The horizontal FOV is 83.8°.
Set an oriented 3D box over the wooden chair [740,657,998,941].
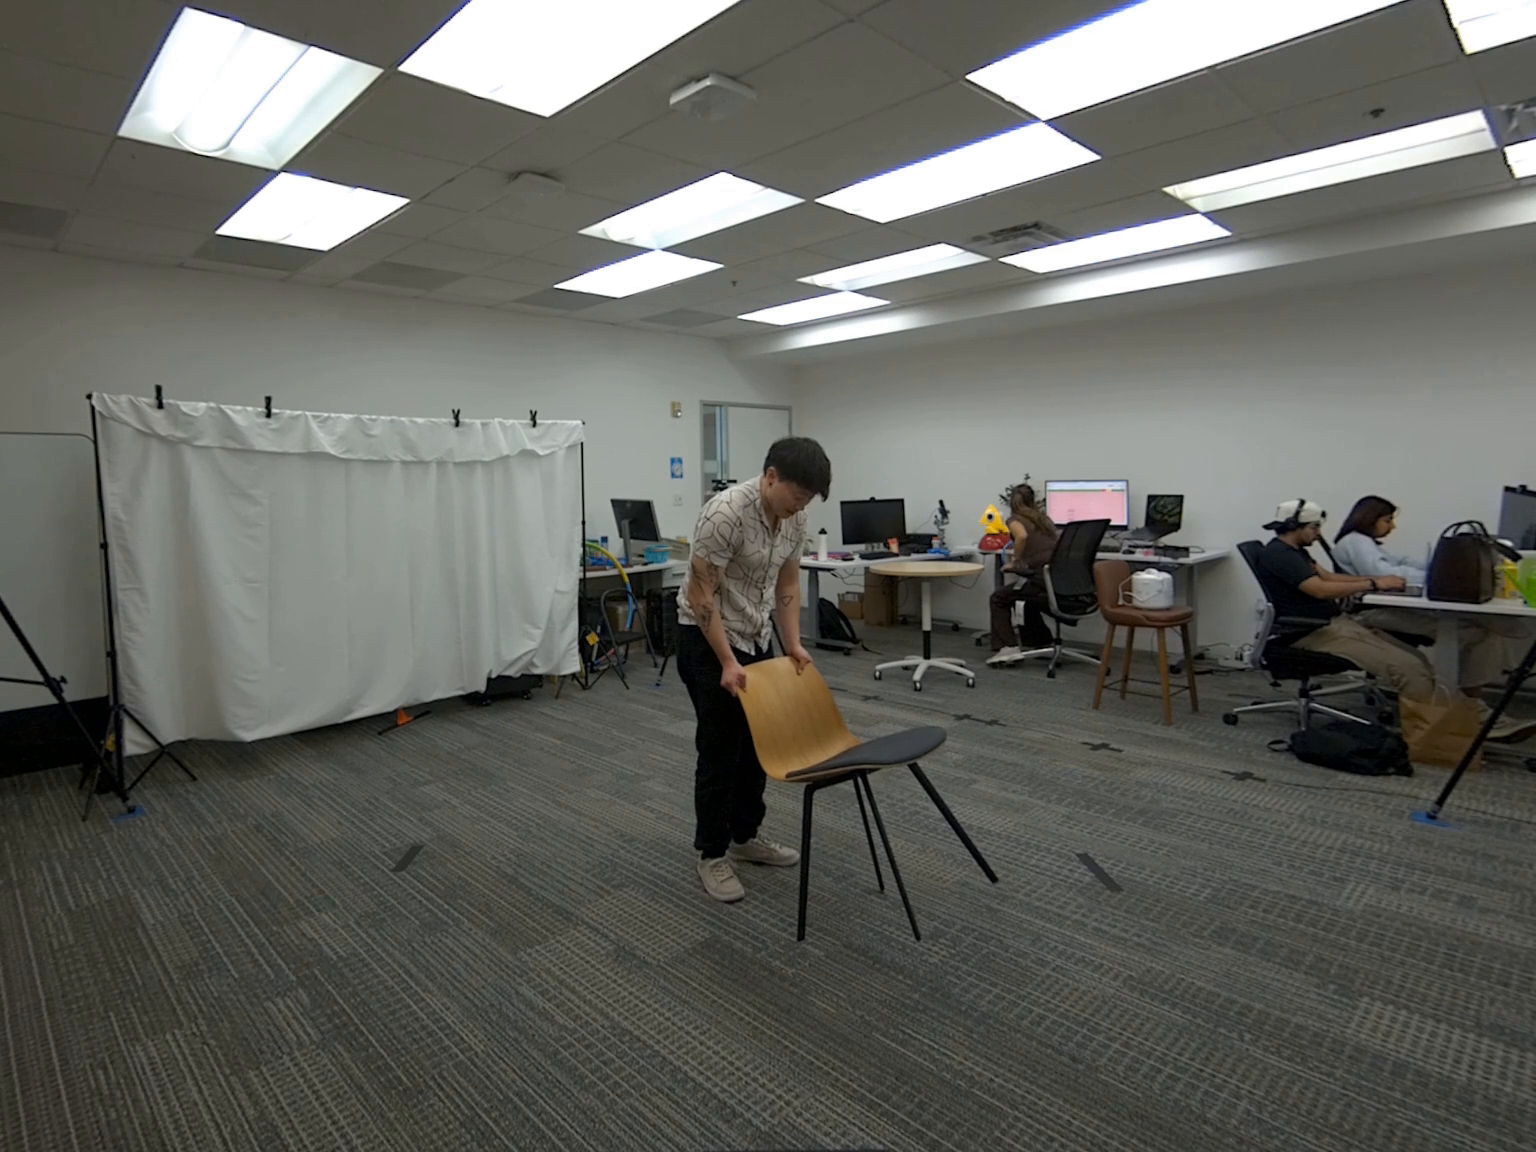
[{"bbox_3d":[0.279,0.610,2.662,0.465,0.892,0.528,-5,-20,-46],"label":"wooden chair"}]
